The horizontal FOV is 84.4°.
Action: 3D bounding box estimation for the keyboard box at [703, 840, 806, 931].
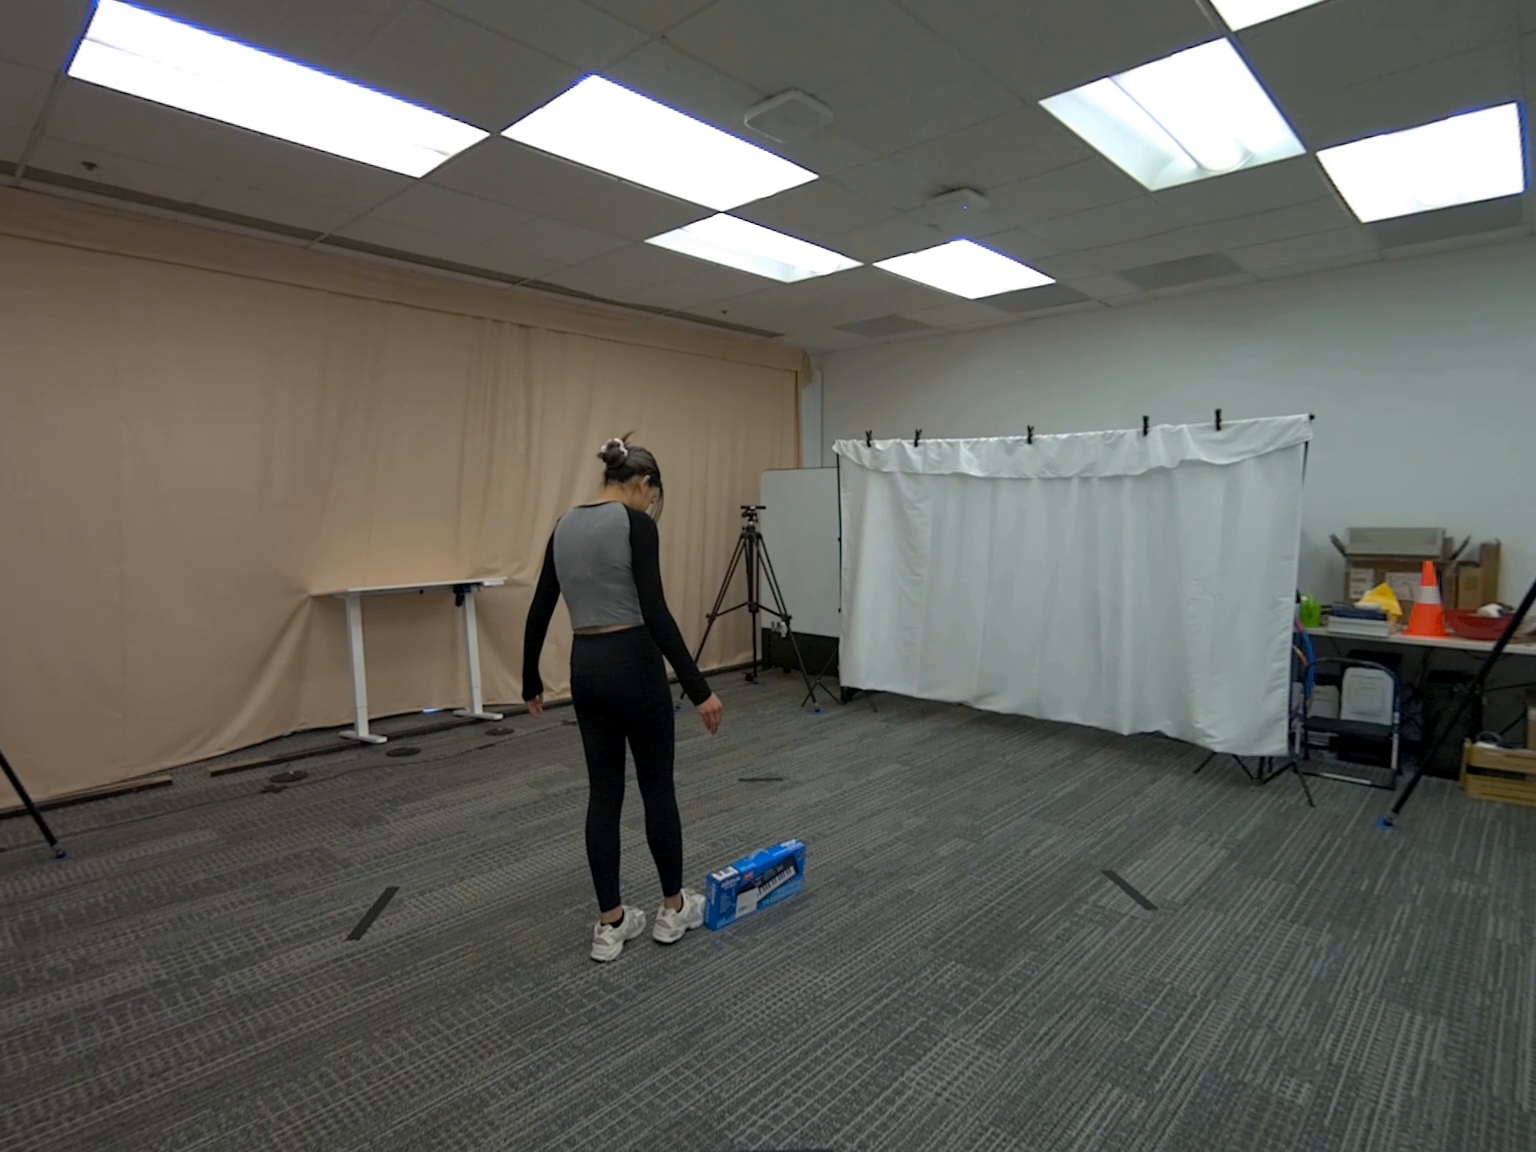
[{"bbox_3d":[-0.036,1.064,2.911,0.061,0.175,0.423,12,12,44],"label":"keyboard box"}]
